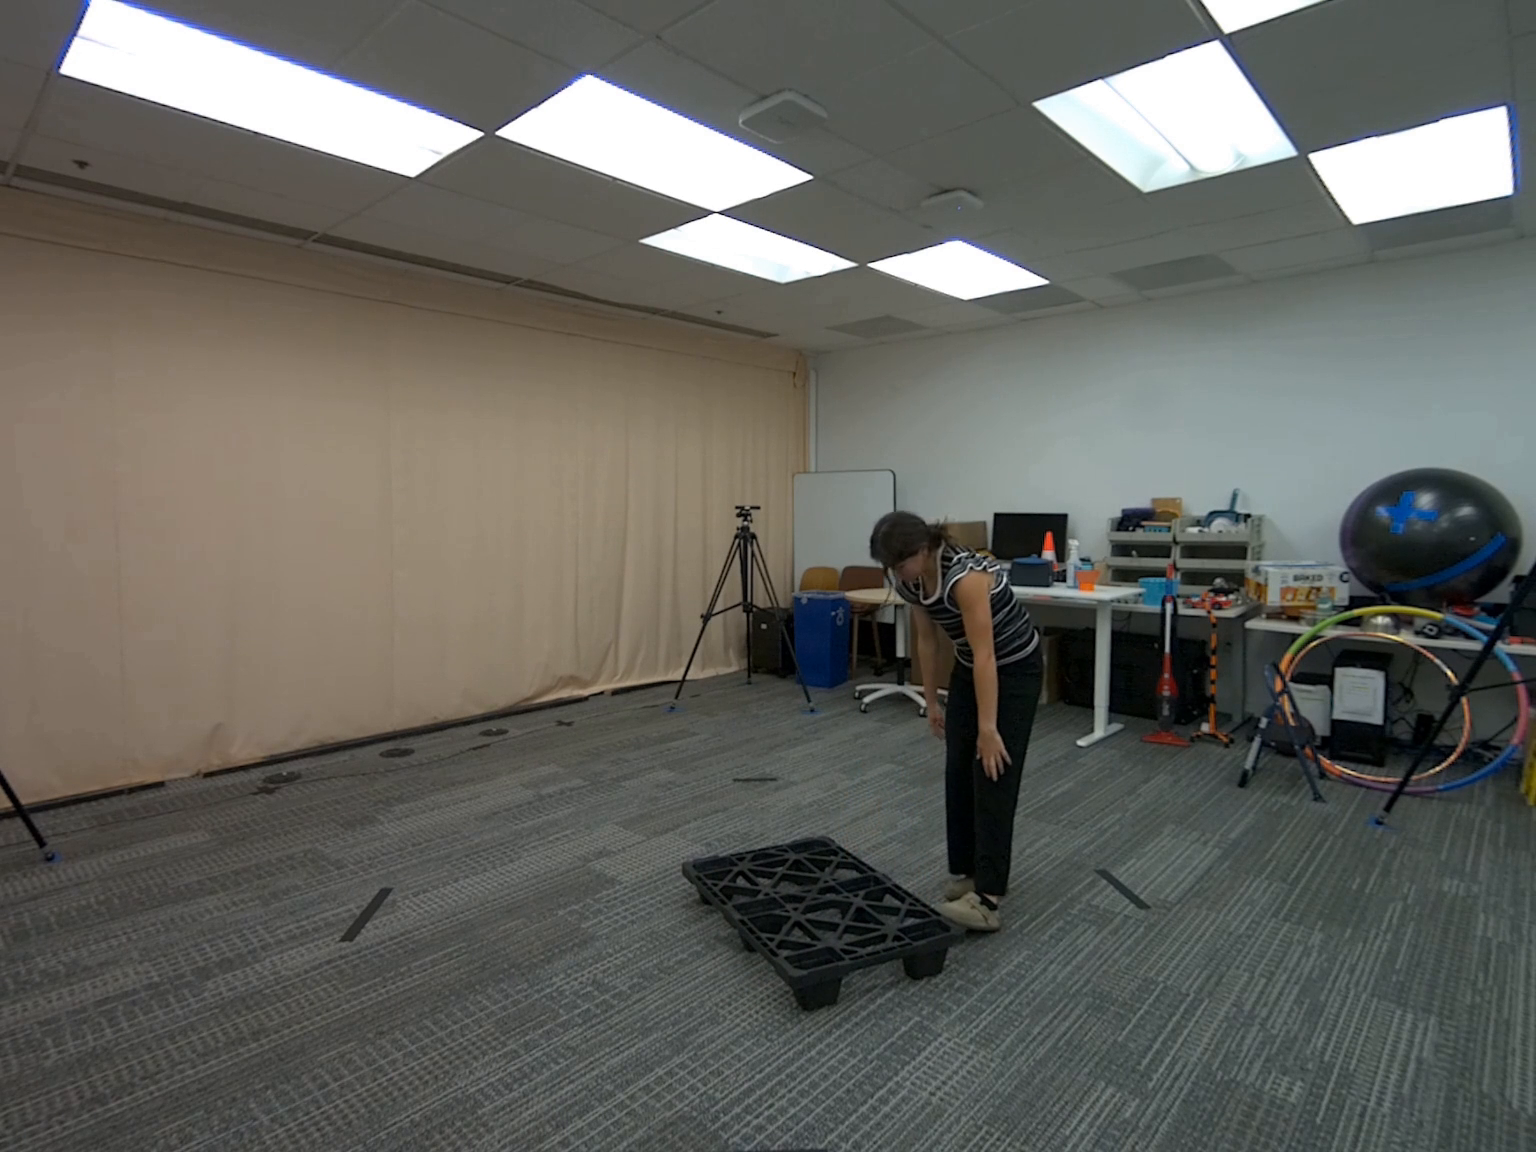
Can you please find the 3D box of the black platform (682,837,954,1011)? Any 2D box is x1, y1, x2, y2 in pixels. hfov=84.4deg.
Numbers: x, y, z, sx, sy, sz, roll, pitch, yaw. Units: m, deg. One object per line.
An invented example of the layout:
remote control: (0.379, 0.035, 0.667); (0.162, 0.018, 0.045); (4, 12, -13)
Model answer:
black platform: (0.143, 1.098, 2.733); (0.591, 0.143, 0.827); (-3, 5, -26)
